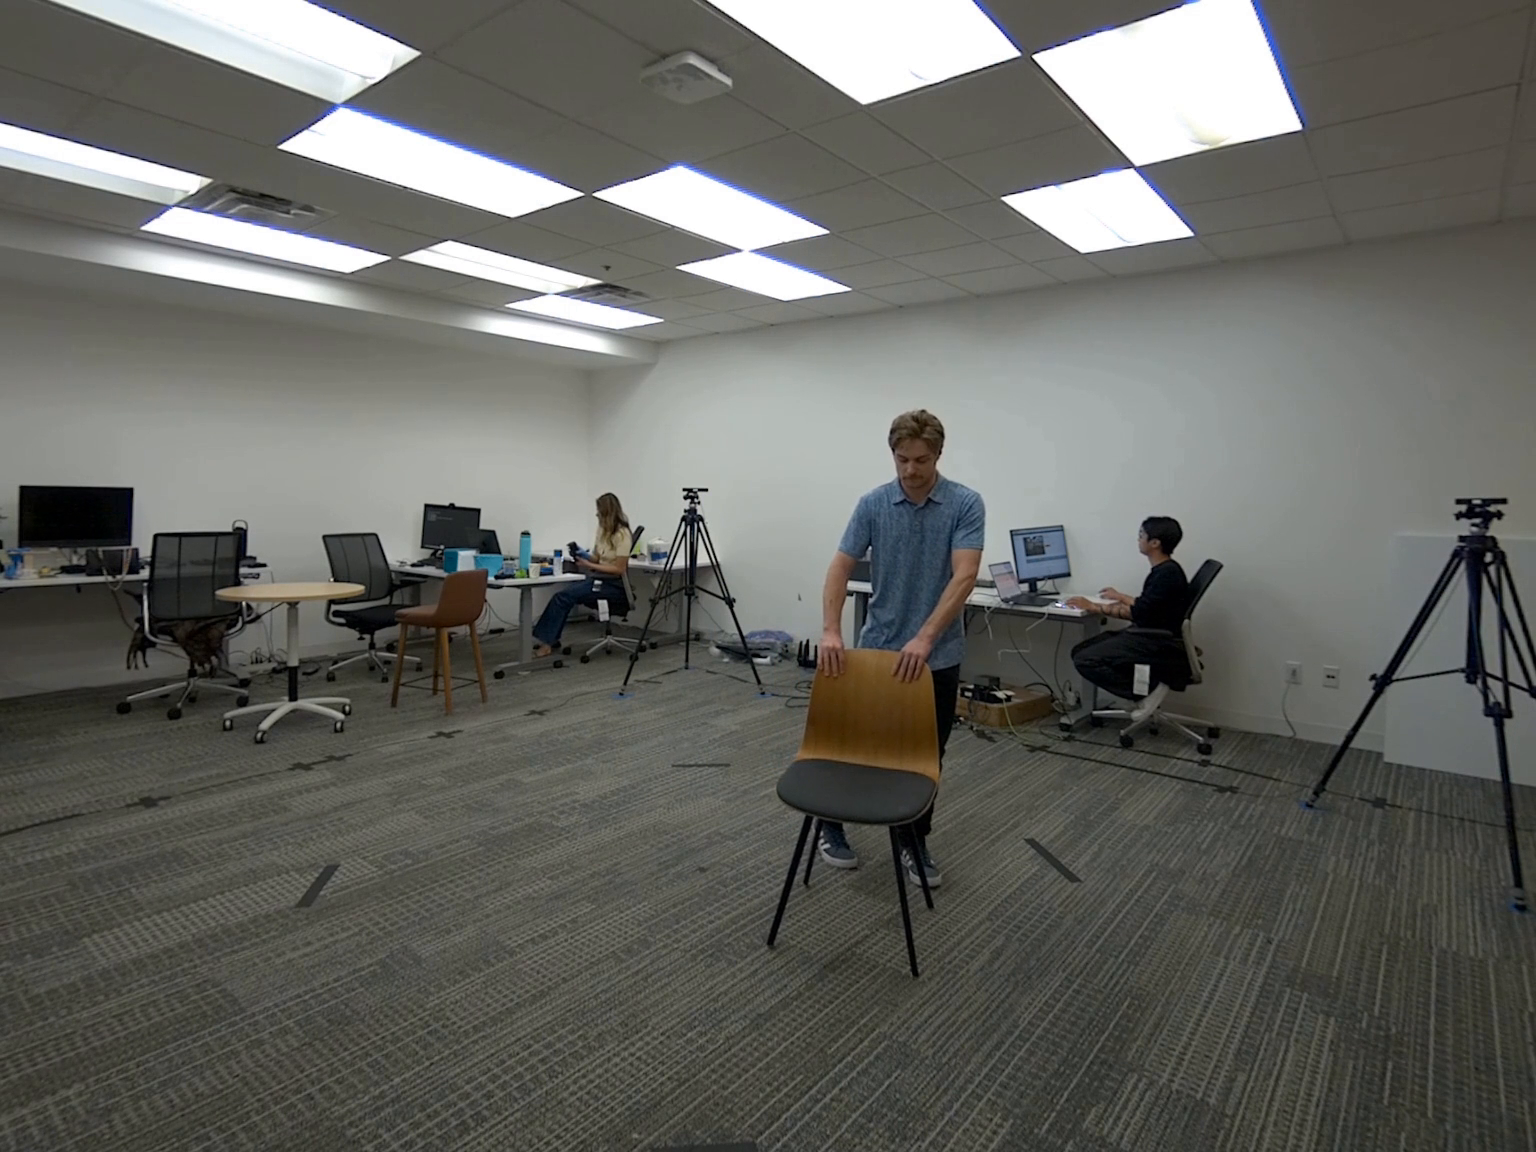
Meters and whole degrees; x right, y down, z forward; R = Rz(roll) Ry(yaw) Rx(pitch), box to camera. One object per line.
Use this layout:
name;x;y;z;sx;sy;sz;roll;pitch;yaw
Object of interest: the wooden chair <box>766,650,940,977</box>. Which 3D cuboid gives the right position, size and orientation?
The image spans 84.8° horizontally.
wooden chair;0.278;0.689;2.695;0.488;0.878;0.512;3;-1;18
